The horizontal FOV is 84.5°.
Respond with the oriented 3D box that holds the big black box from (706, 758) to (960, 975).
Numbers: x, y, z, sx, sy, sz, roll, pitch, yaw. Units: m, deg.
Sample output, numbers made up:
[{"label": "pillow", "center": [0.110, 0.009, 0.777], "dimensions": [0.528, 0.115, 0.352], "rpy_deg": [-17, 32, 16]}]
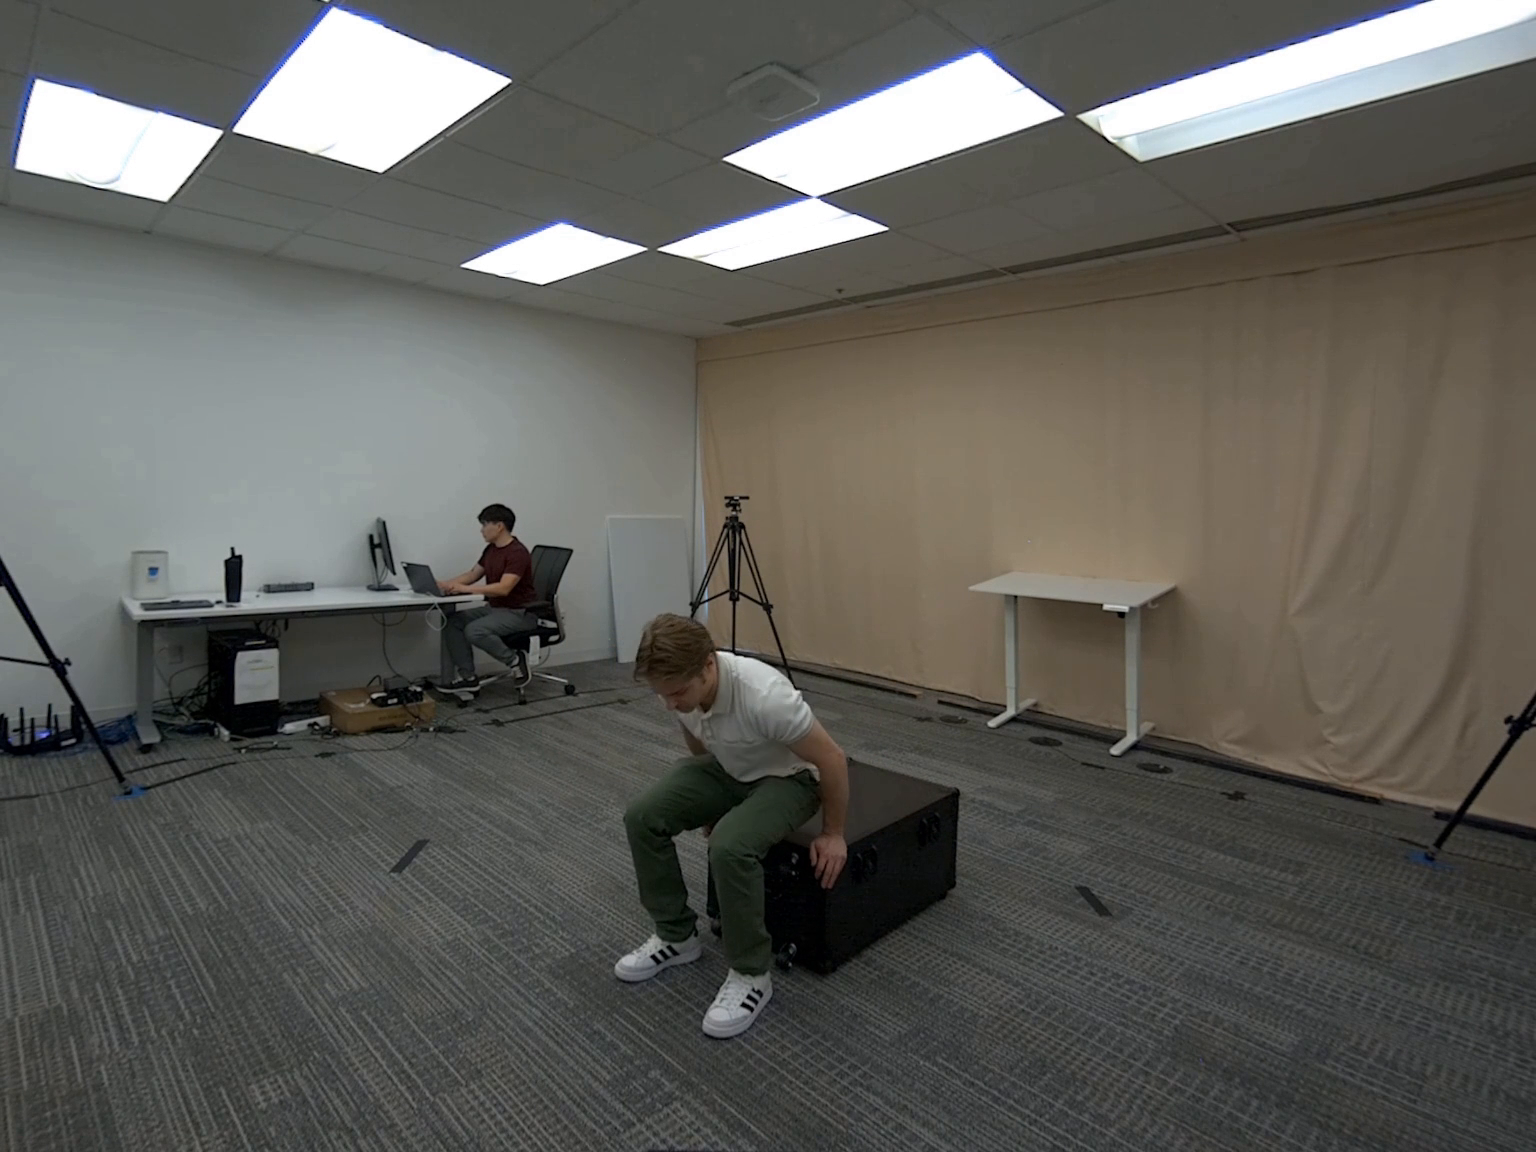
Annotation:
[{"label": "big black box", "center": [0.203, 0.939, 2.843], "dimensions": [0.537, 0.384, 0.849], "rpy_deg": [6, 7, 42]}]
